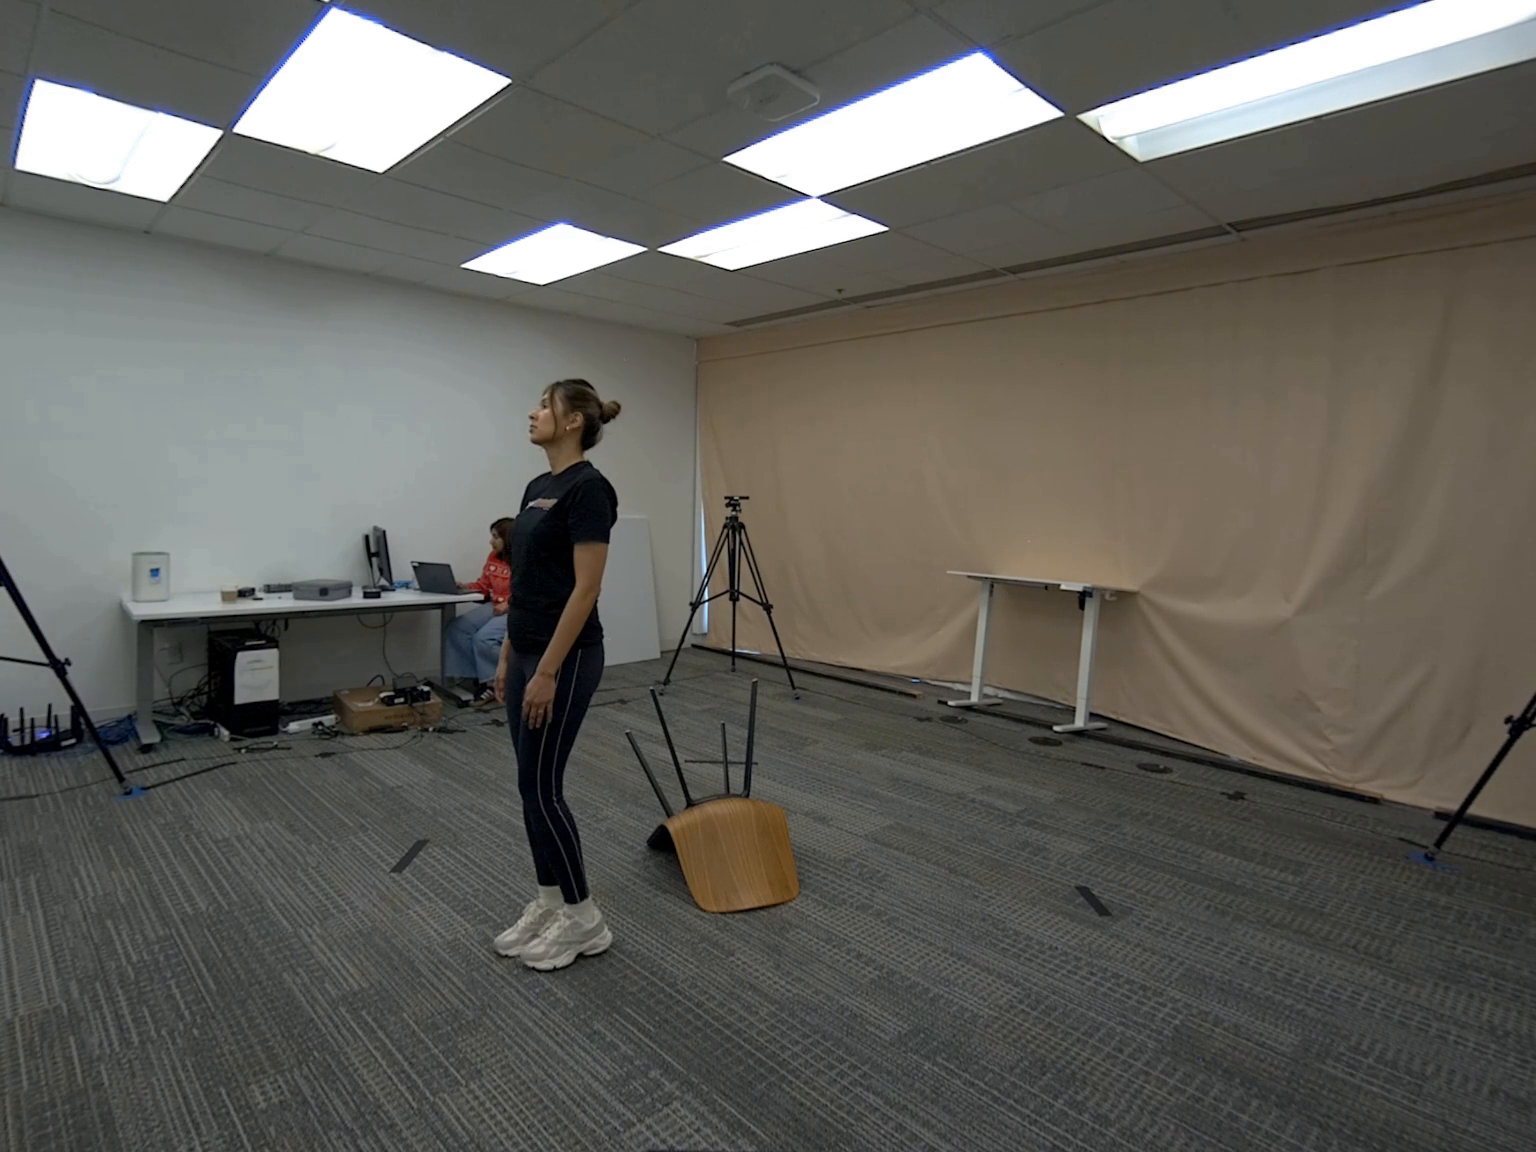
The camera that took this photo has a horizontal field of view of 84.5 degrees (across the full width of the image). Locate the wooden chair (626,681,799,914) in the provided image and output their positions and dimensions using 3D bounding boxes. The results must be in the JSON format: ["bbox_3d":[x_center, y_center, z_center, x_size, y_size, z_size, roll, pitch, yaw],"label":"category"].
[{"bbox_3d":[-0.228,0.913,3.274,0.470,0.900,0.518,-1,-36,-24],"label":"wooden chair"}]
